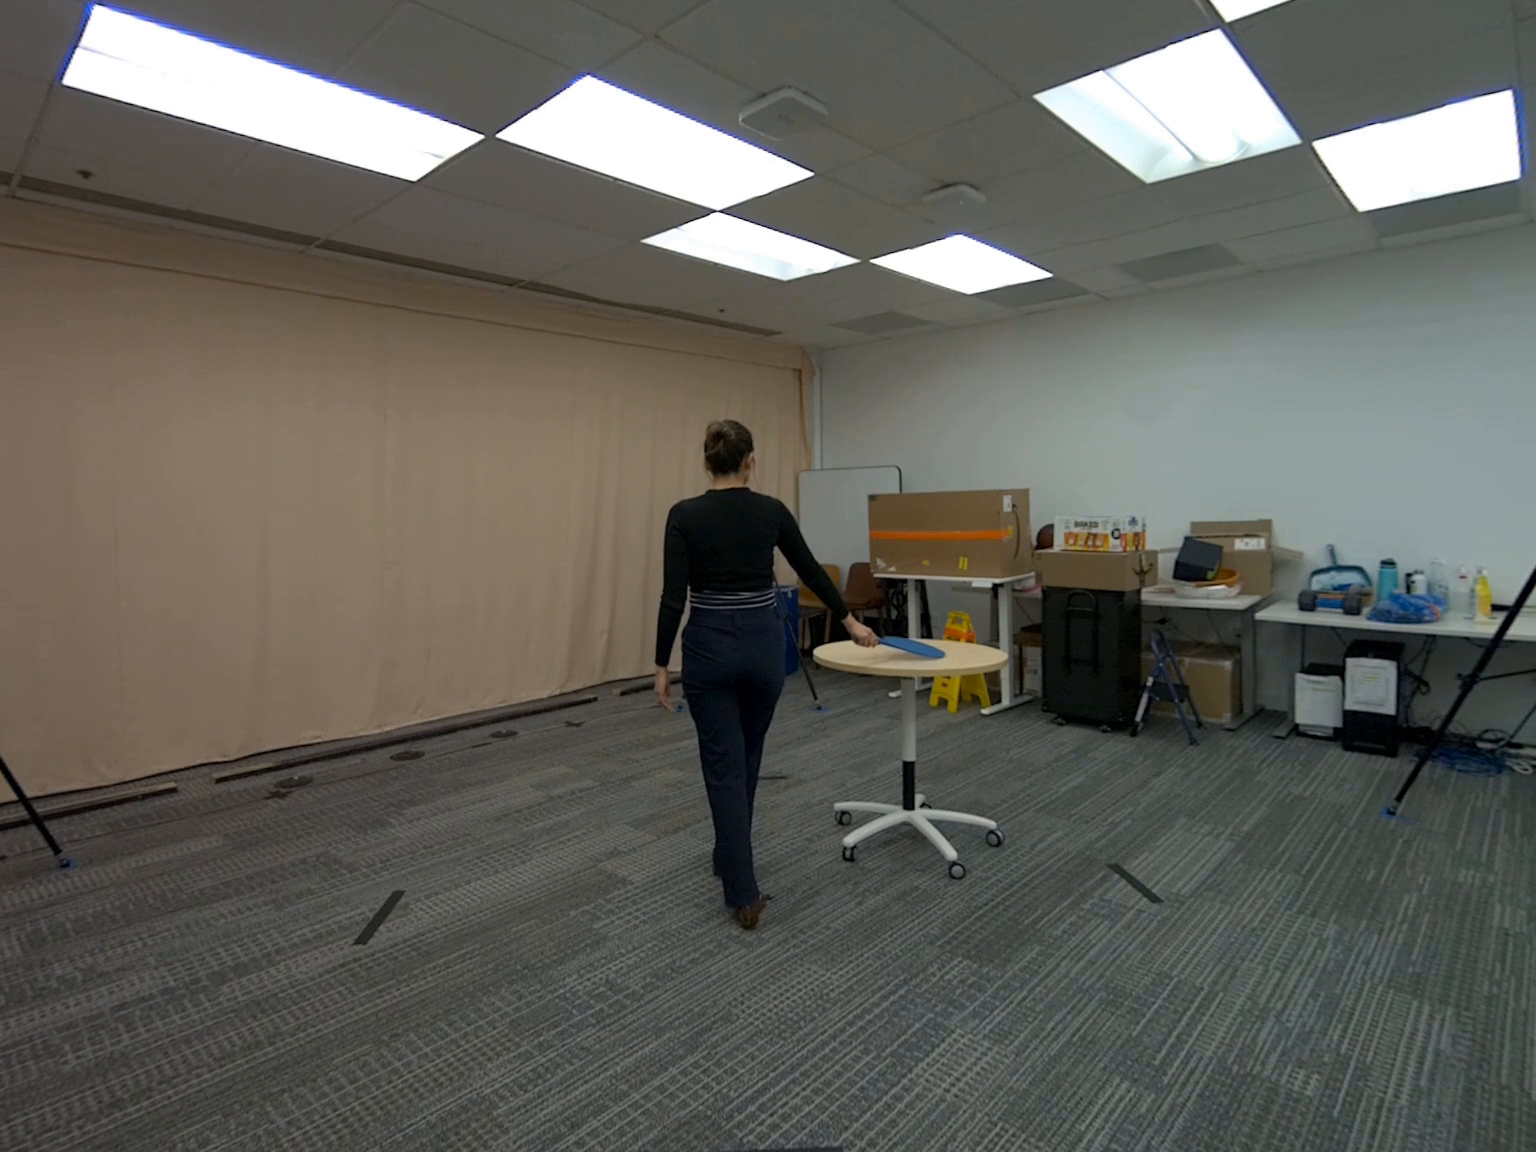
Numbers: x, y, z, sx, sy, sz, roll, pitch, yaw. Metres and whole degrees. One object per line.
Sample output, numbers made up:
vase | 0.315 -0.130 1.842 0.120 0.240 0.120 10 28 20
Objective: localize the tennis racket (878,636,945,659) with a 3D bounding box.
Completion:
tennis racket | 0.514 0.268 3.287 0.420 0.031 0.221 9 10 -29
